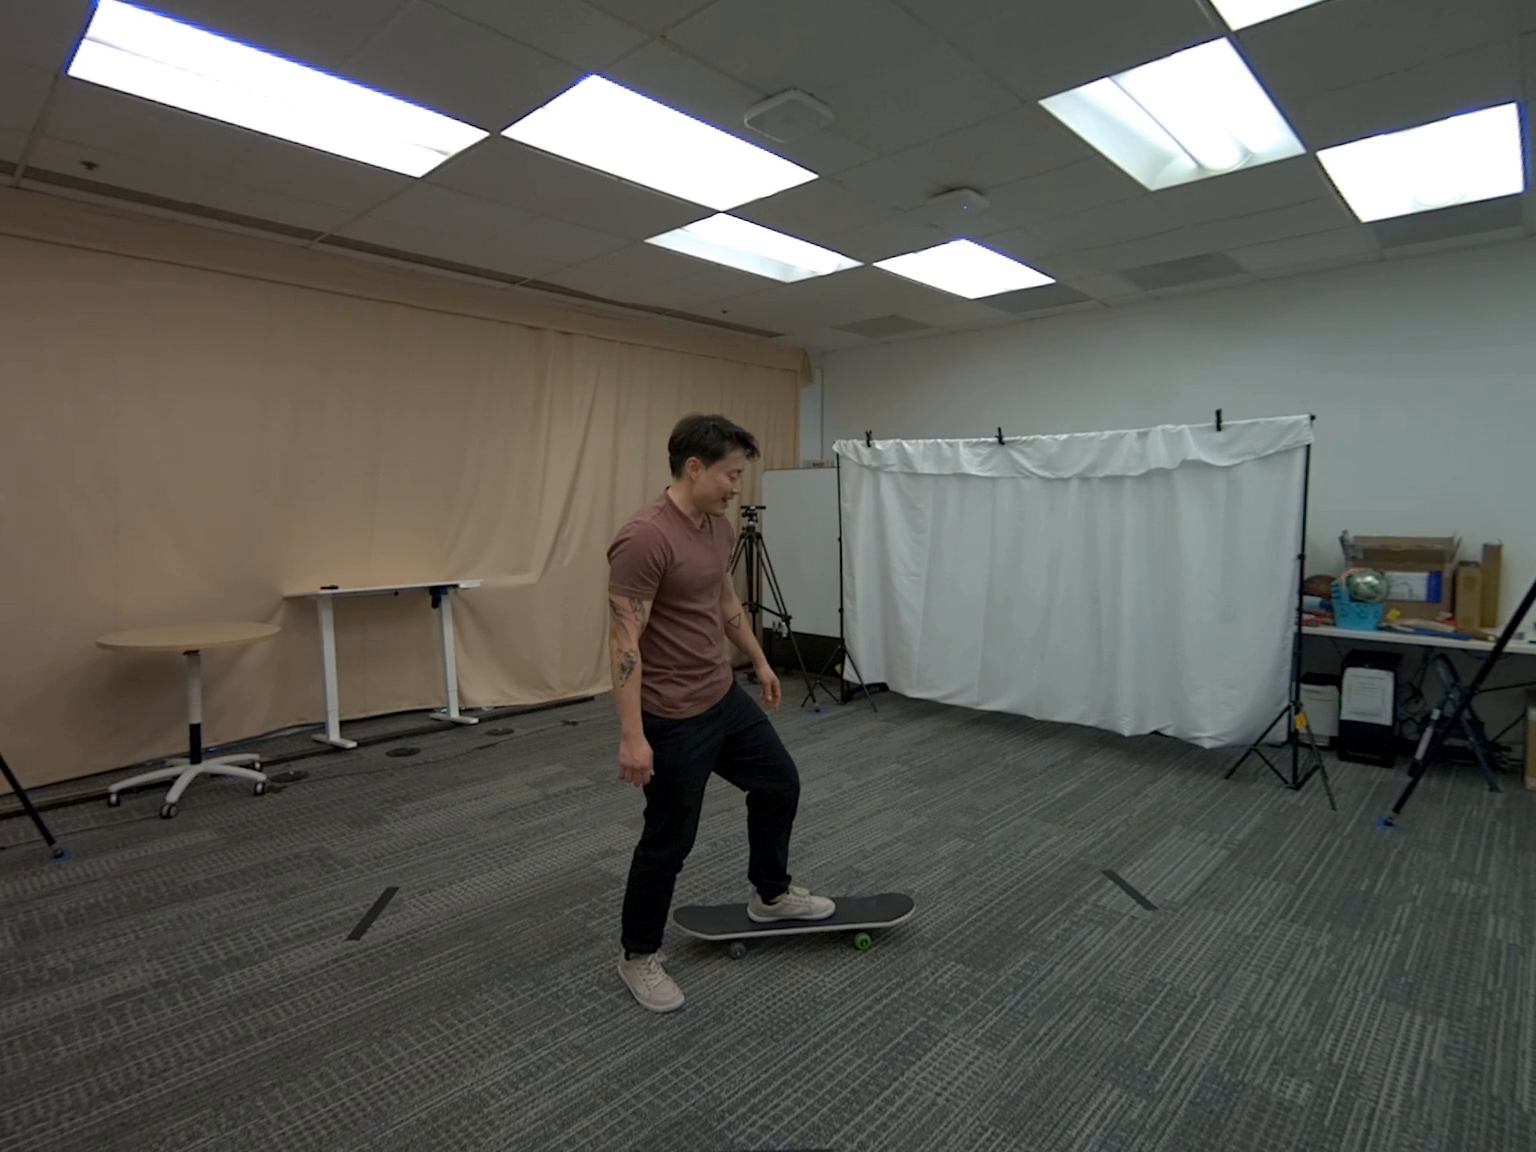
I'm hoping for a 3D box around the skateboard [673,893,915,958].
[{"bbox_3d":[0.090,1.112,2.684,0.779,0.110,0.195,0,4,-7],"label":"skateboard"}]
